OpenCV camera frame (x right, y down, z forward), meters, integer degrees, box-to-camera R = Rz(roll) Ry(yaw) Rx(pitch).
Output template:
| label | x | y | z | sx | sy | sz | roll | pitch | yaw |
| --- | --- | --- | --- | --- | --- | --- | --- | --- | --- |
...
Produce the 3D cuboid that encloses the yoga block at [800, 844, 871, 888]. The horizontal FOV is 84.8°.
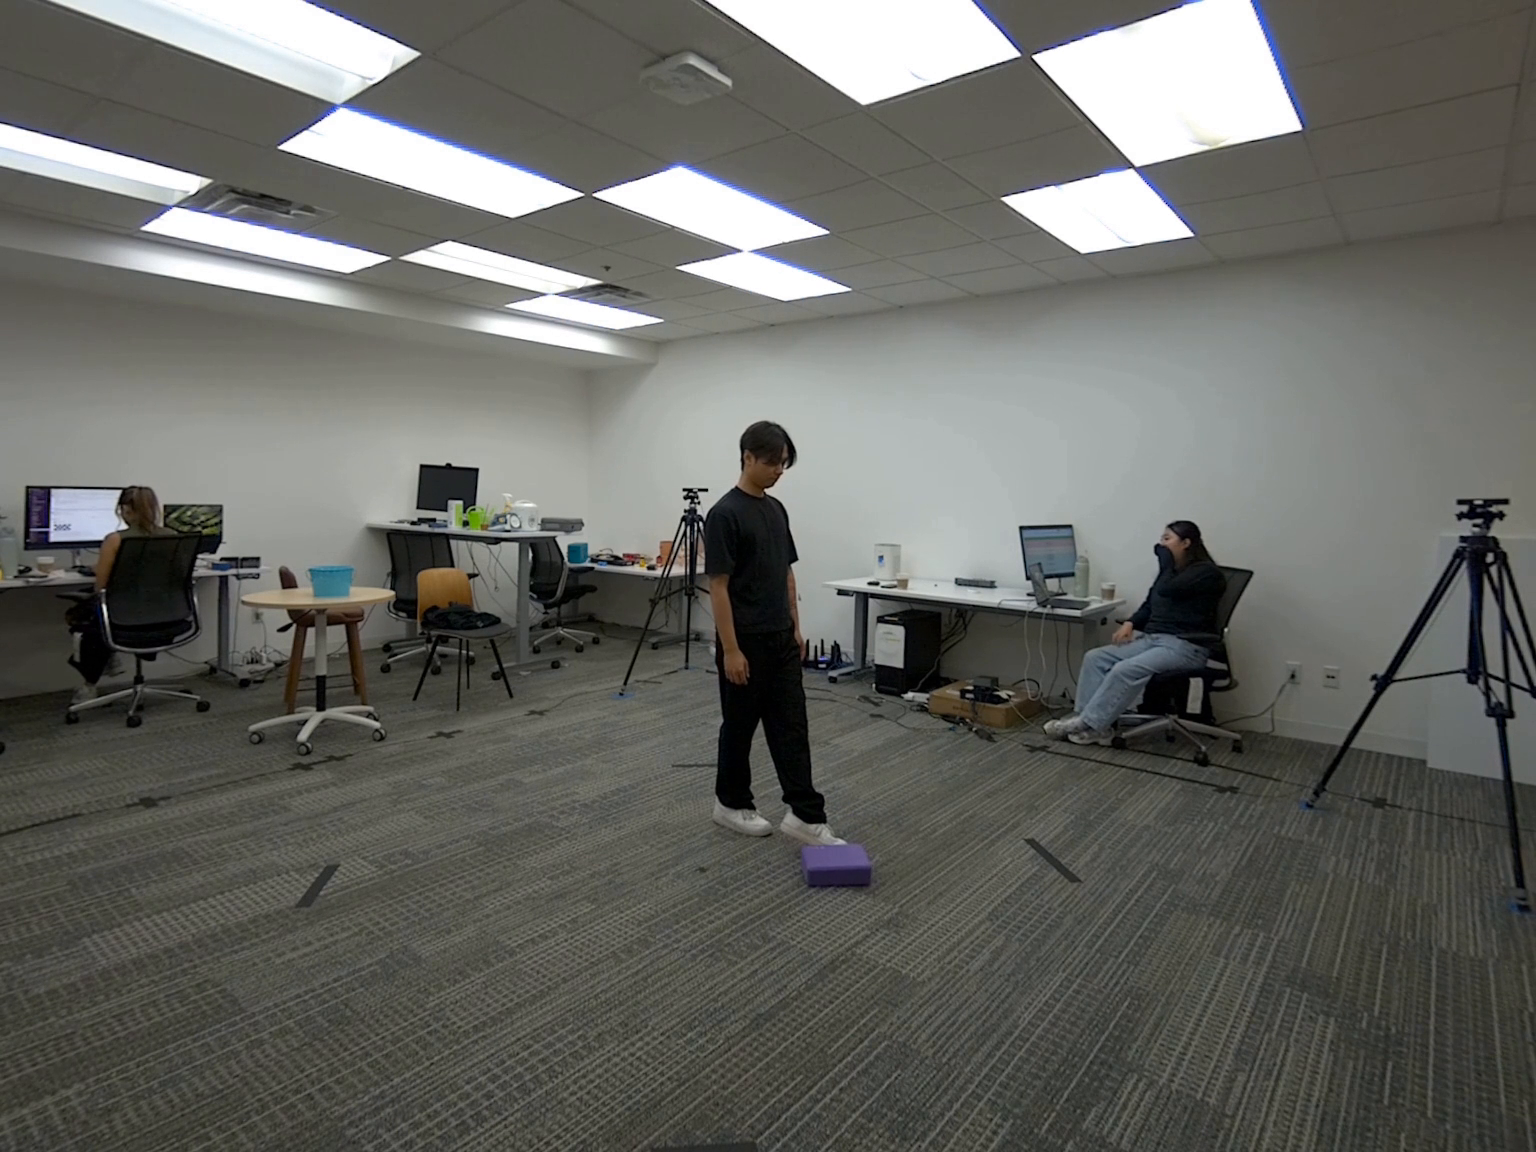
| label | x | y | z | sx | sy | sz | roll | pitch | yaw |
| --- | --- | --- | --- | --- | --- | --- | --- | --- | --- |
| yoga block | 0.241 | 1.036 | 3.063 | 0.228 | 0.075 | 0.151 | -2 | 12 | -6 |
